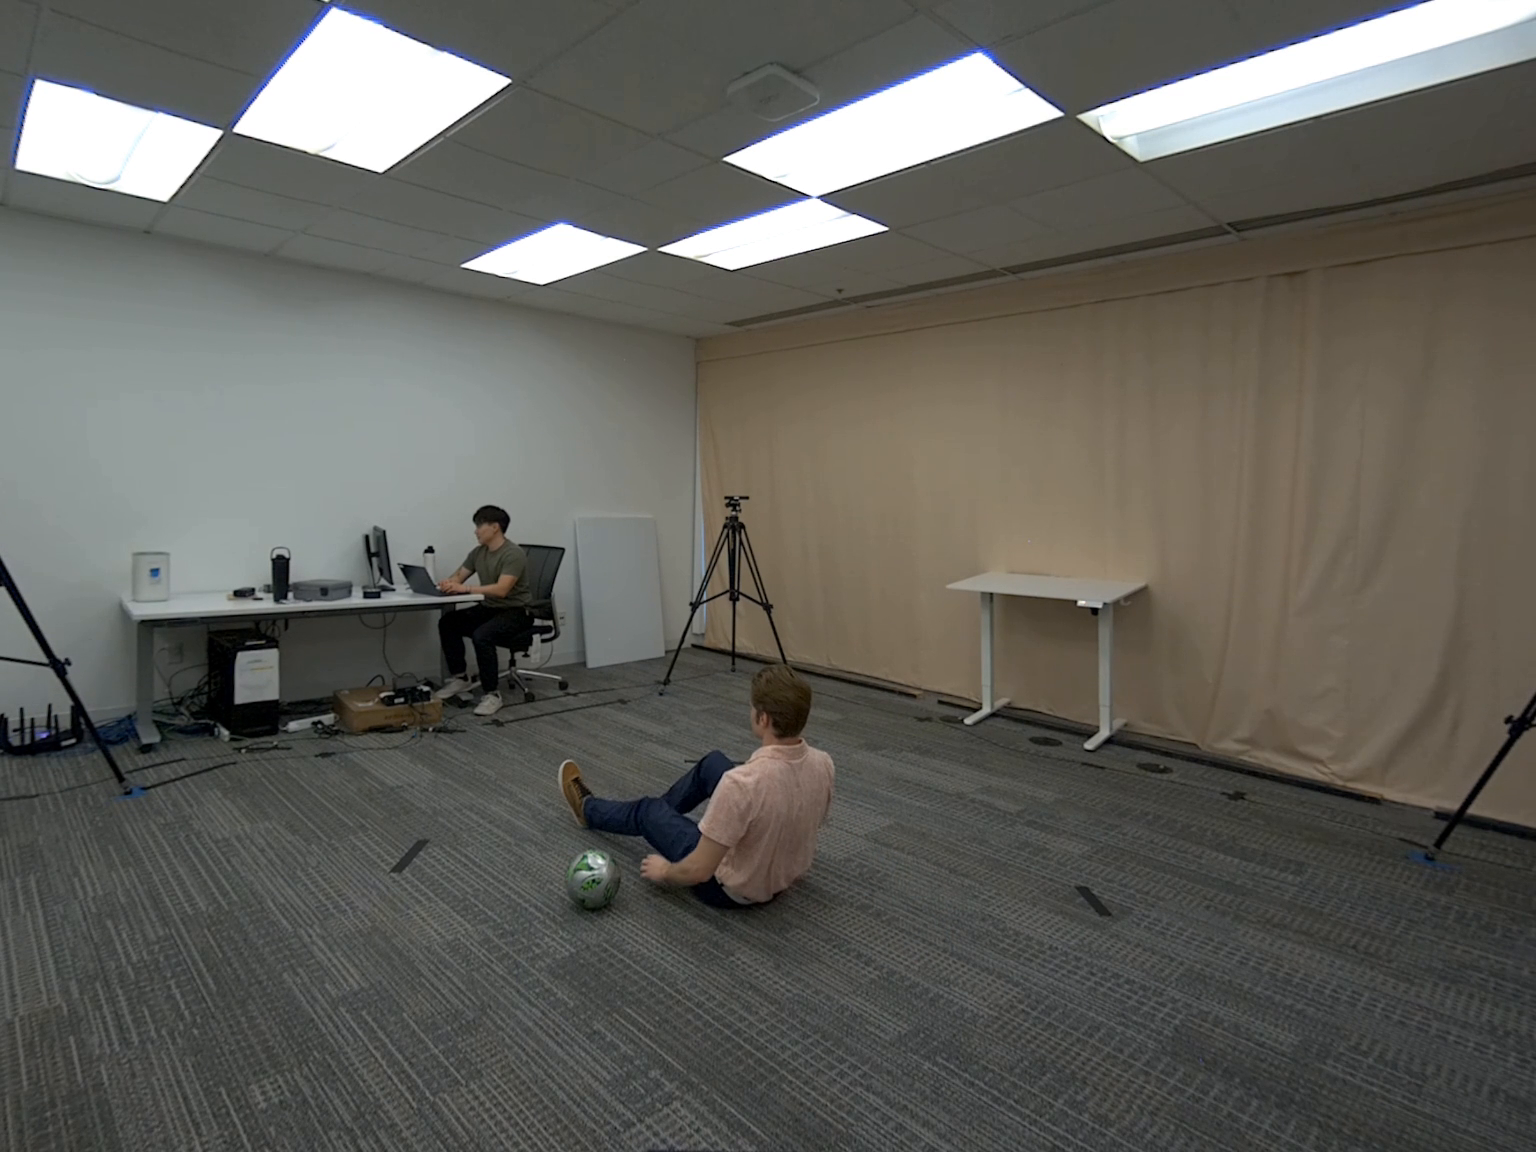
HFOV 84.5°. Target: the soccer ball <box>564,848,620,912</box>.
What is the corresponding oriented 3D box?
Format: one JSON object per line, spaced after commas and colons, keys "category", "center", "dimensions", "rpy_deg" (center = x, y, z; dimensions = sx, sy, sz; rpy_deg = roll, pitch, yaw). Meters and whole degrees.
{"category": "soccer ball", "center": [-0.585, 1.015, 2.847], "dimensions": [0.187, 0.187, 0.188], "rpy_deg": [1, 4, -1]}
